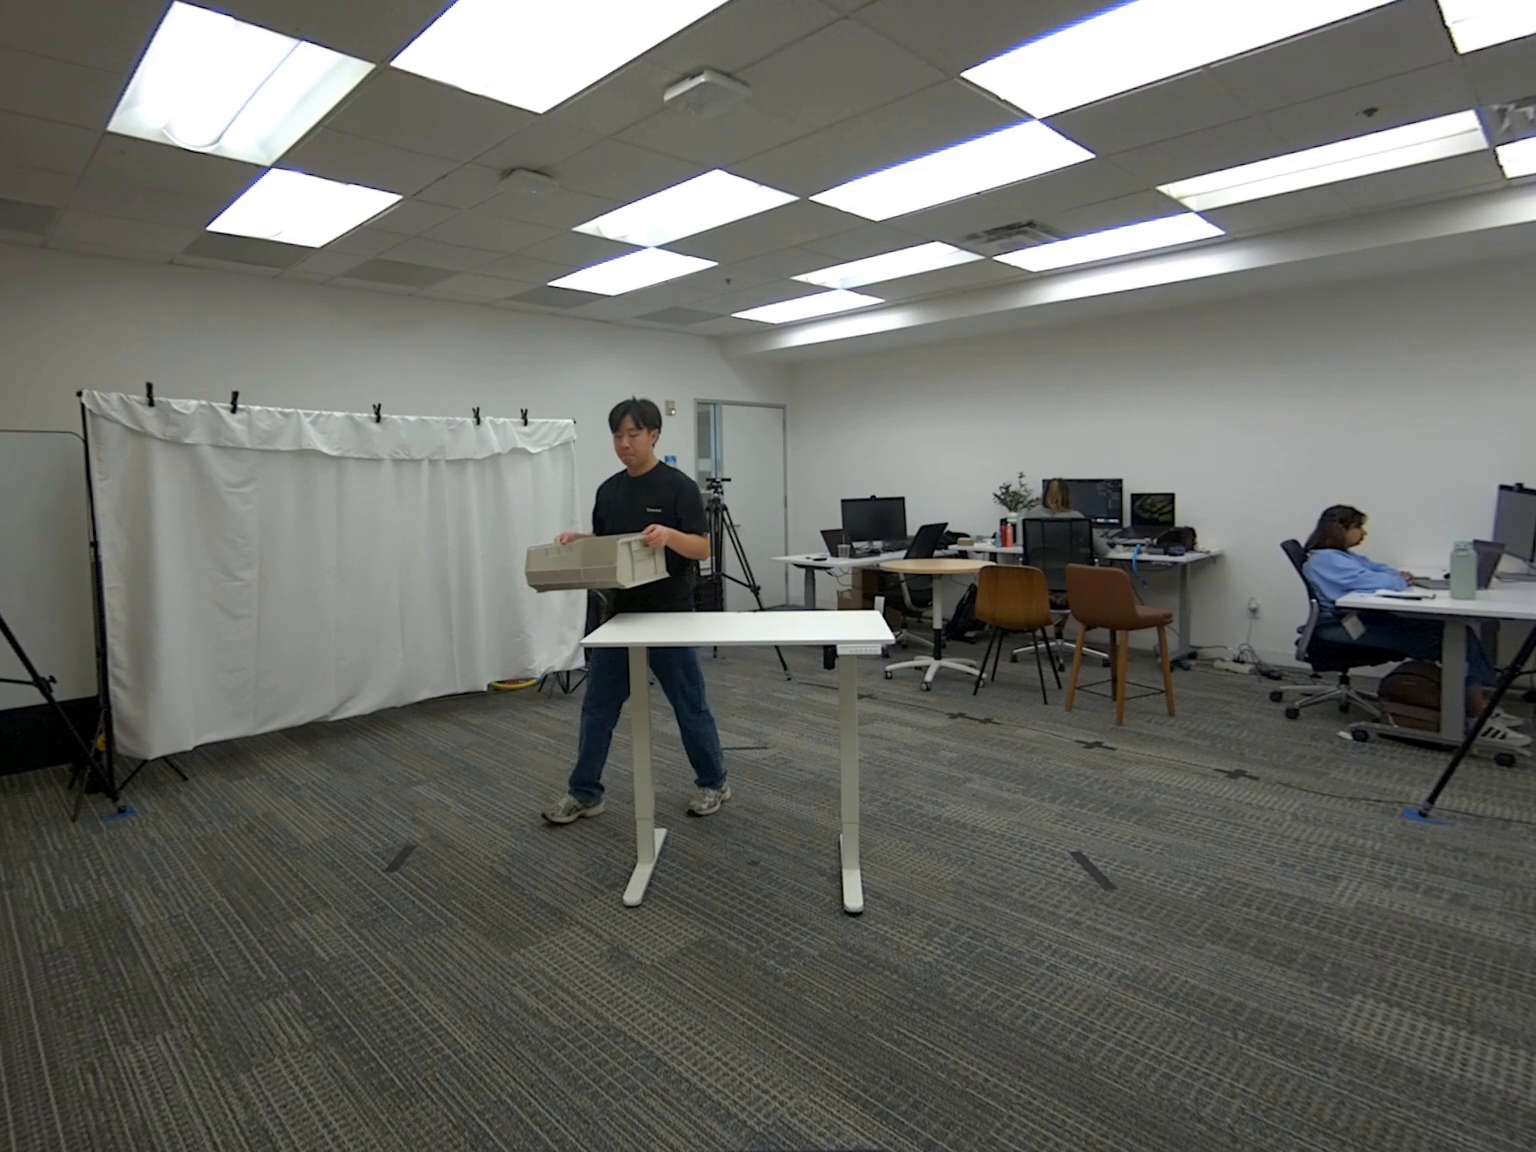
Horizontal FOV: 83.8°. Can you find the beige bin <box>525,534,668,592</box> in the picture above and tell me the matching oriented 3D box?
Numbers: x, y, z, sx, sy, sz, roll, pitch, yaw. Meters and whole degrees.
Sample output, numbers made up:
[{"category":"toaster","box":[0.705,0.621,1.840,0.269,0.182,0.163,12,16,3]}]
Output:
[{"category":"beige bin","box":[-0.651,-0.048,3.266,0.431,0.188,0.370,-4,4,24]}]
